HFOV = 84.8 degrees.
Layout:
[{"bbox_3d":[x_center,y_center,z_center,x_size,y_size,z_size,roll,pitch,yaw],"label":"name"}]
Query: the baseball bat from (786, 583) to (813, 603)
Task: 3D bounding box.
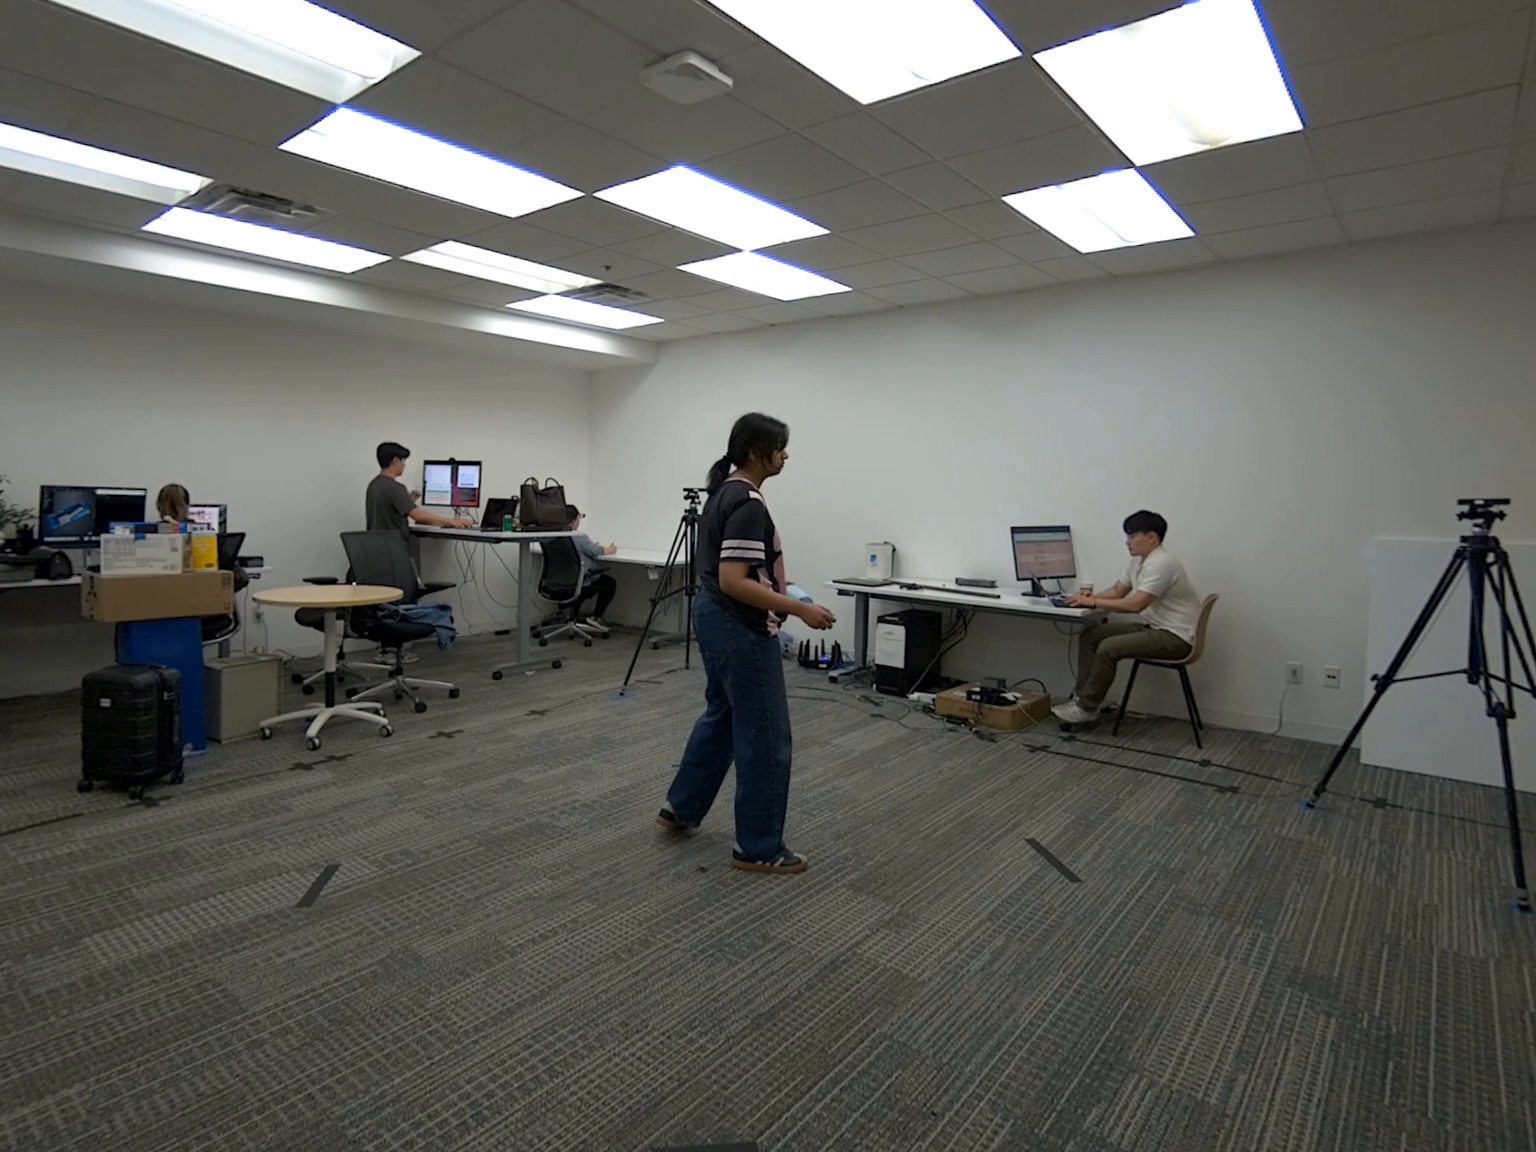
[{"bbox_3d":[0.131,0.114,3.239,0.088,0.088,0.554,0,9,-13],"label":"baseball bat"}]
